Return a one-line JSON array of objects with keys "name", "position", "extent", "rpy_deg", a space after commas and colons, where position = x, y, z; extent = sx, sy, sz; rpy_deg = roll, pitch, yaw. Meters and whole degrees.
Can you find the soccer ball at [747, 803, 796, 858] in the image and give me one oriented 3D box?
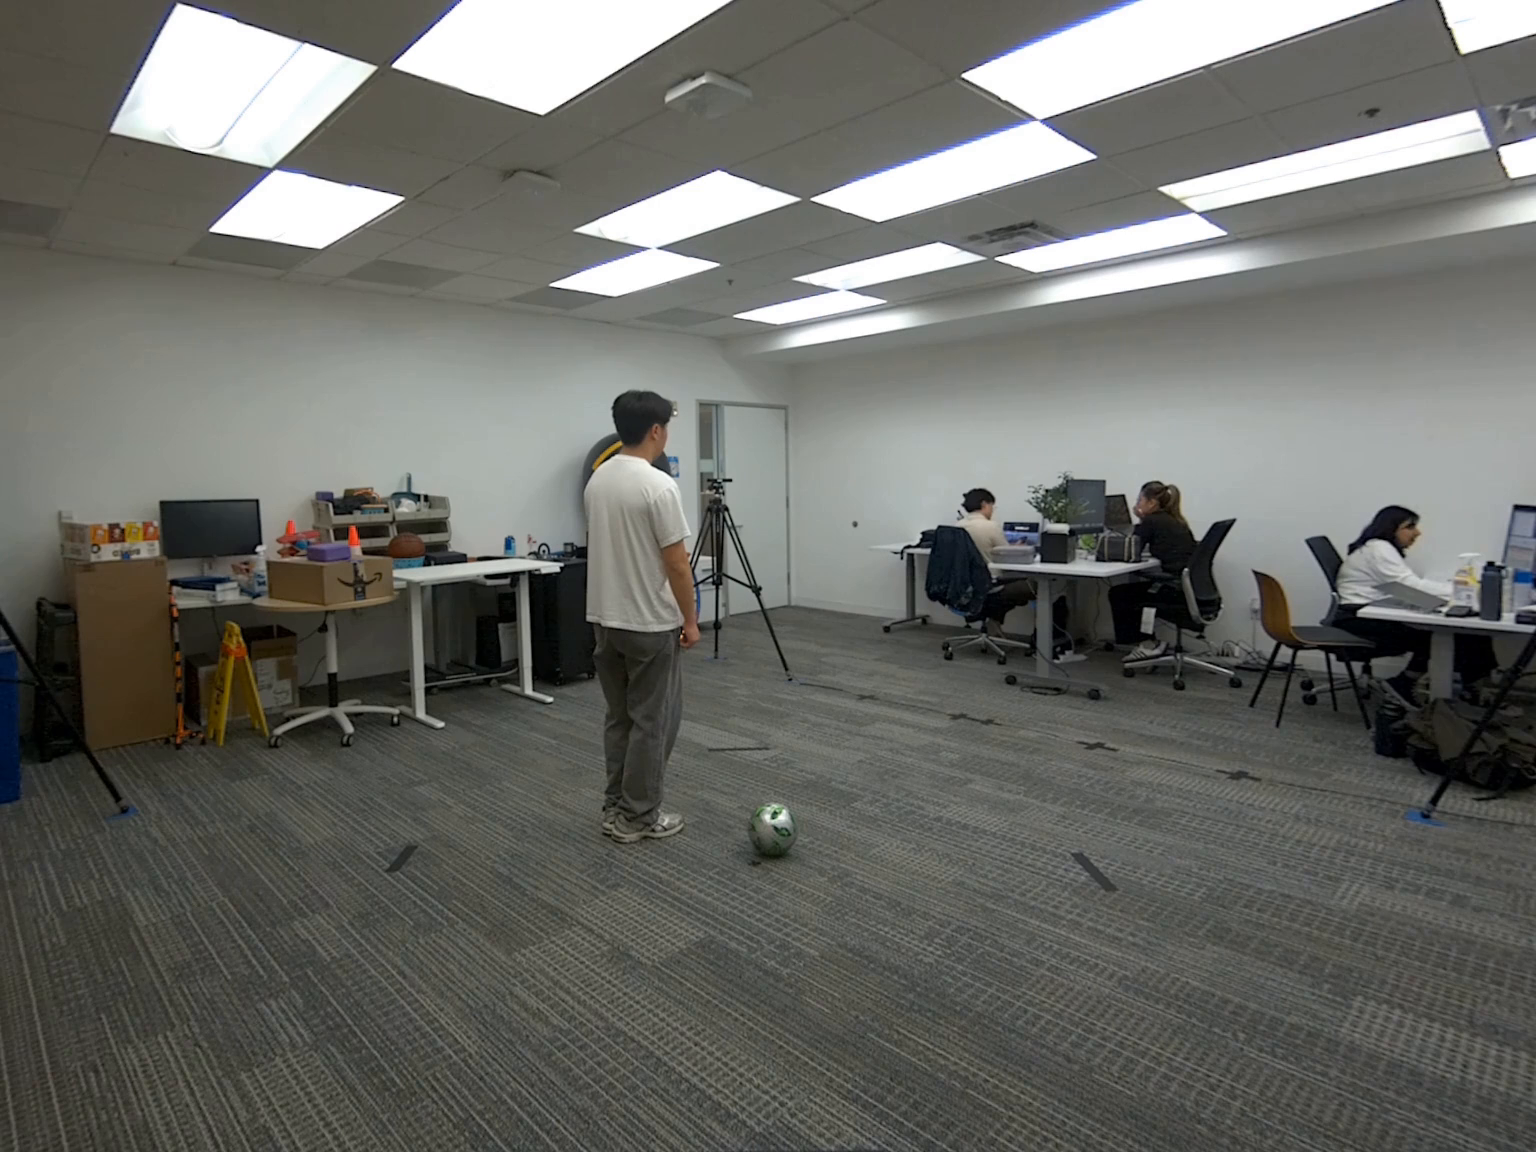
[{"name": "soccer ball", "position": [0.021, 0.942, 3.185], "extent": [0.187, 0.187, 0.188], "rpy_deg": [-1, 5, -2]}]
